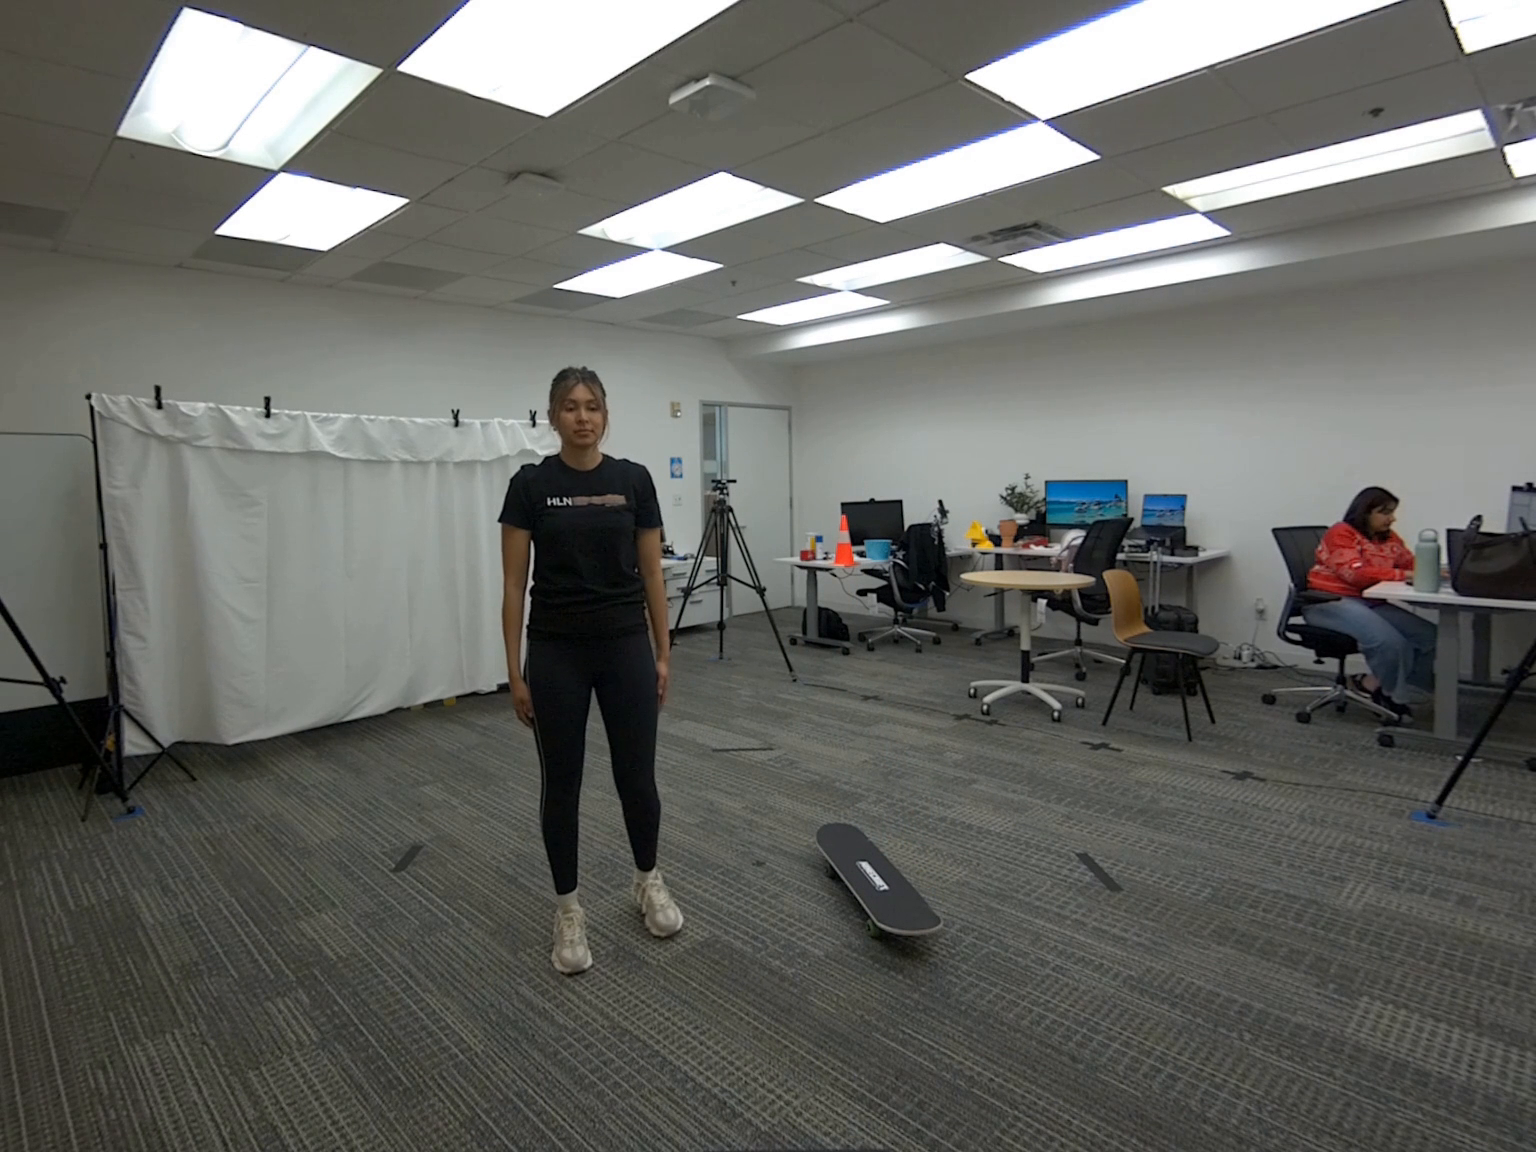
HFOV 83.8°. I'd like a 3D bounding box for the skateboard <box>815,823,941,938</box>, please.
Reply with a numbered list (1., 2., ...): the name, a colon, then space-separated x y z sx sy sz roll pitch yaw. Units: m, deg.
1. skateboard: 0.349 1.017 2.812 0.191 0.110 0.798 -3 7 -13
